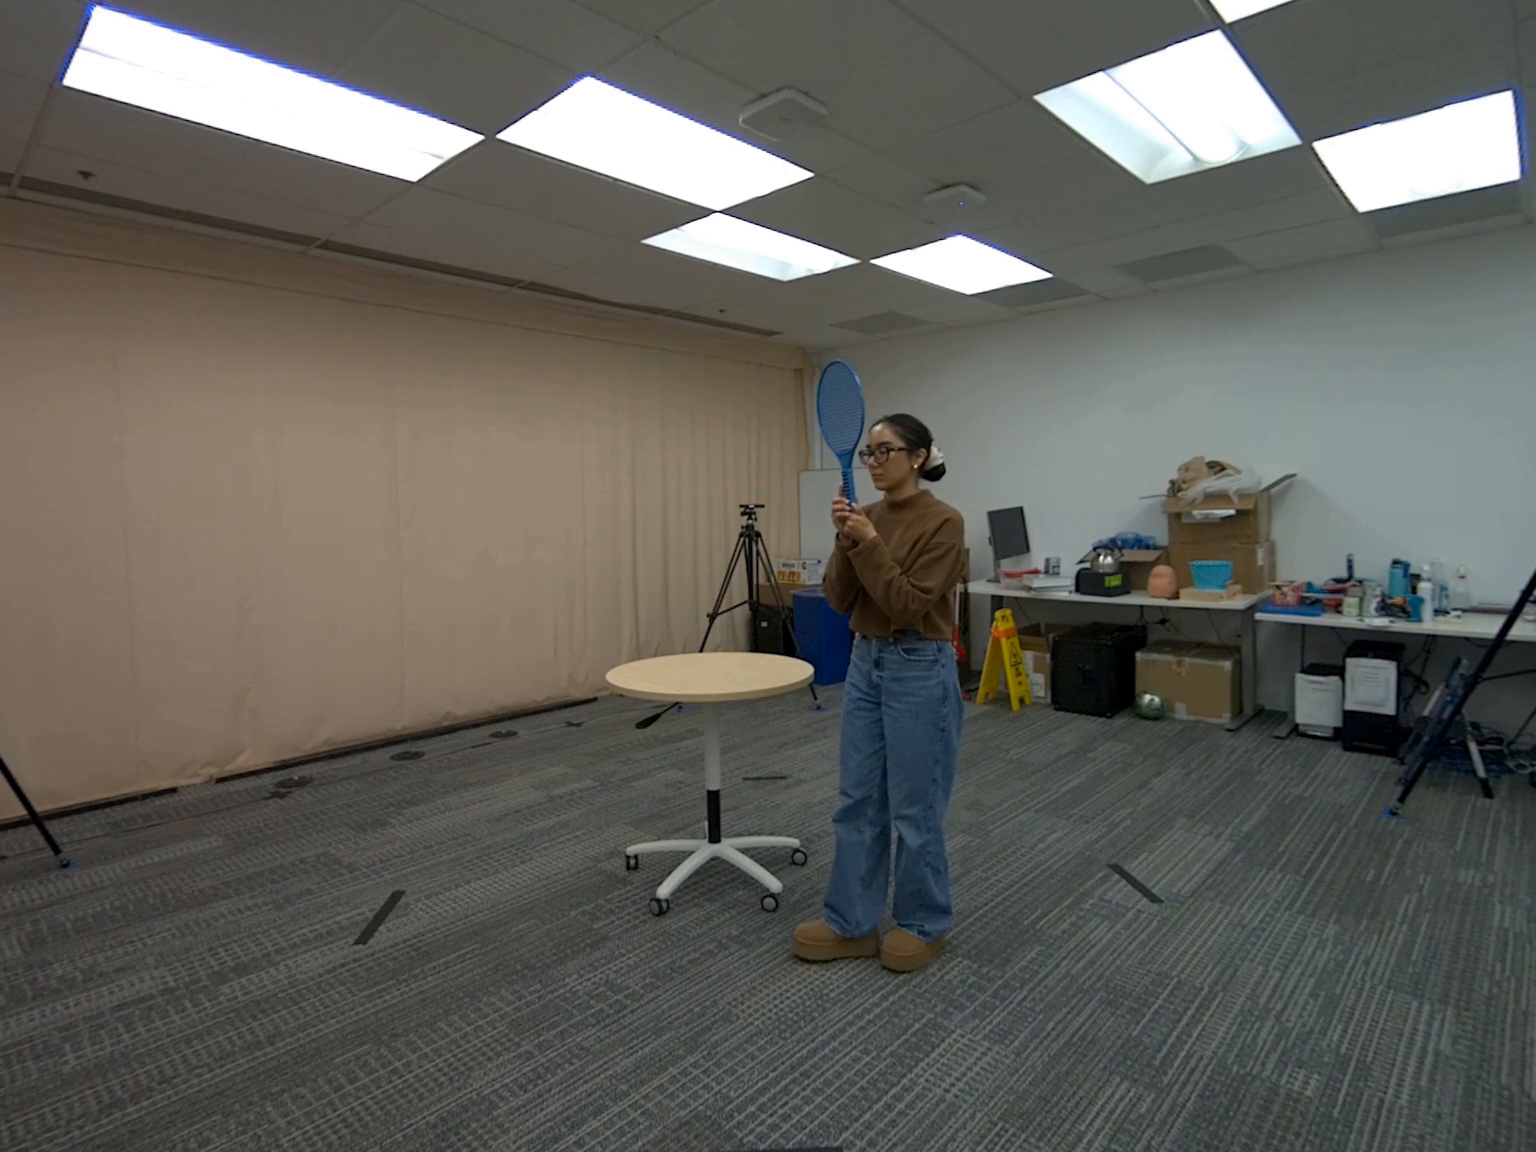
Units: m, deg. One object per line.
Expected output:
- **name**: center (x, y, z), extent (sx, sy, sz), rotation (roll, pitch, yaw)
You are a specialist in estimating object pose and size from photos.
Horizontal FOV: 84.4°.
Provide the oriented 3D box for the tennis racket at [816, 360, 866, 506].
- **tennis racket**: center (0.215, -0.398, 2.402), extent (0.031, 0.431, 0.220), rotation (-7, 5, -32)
